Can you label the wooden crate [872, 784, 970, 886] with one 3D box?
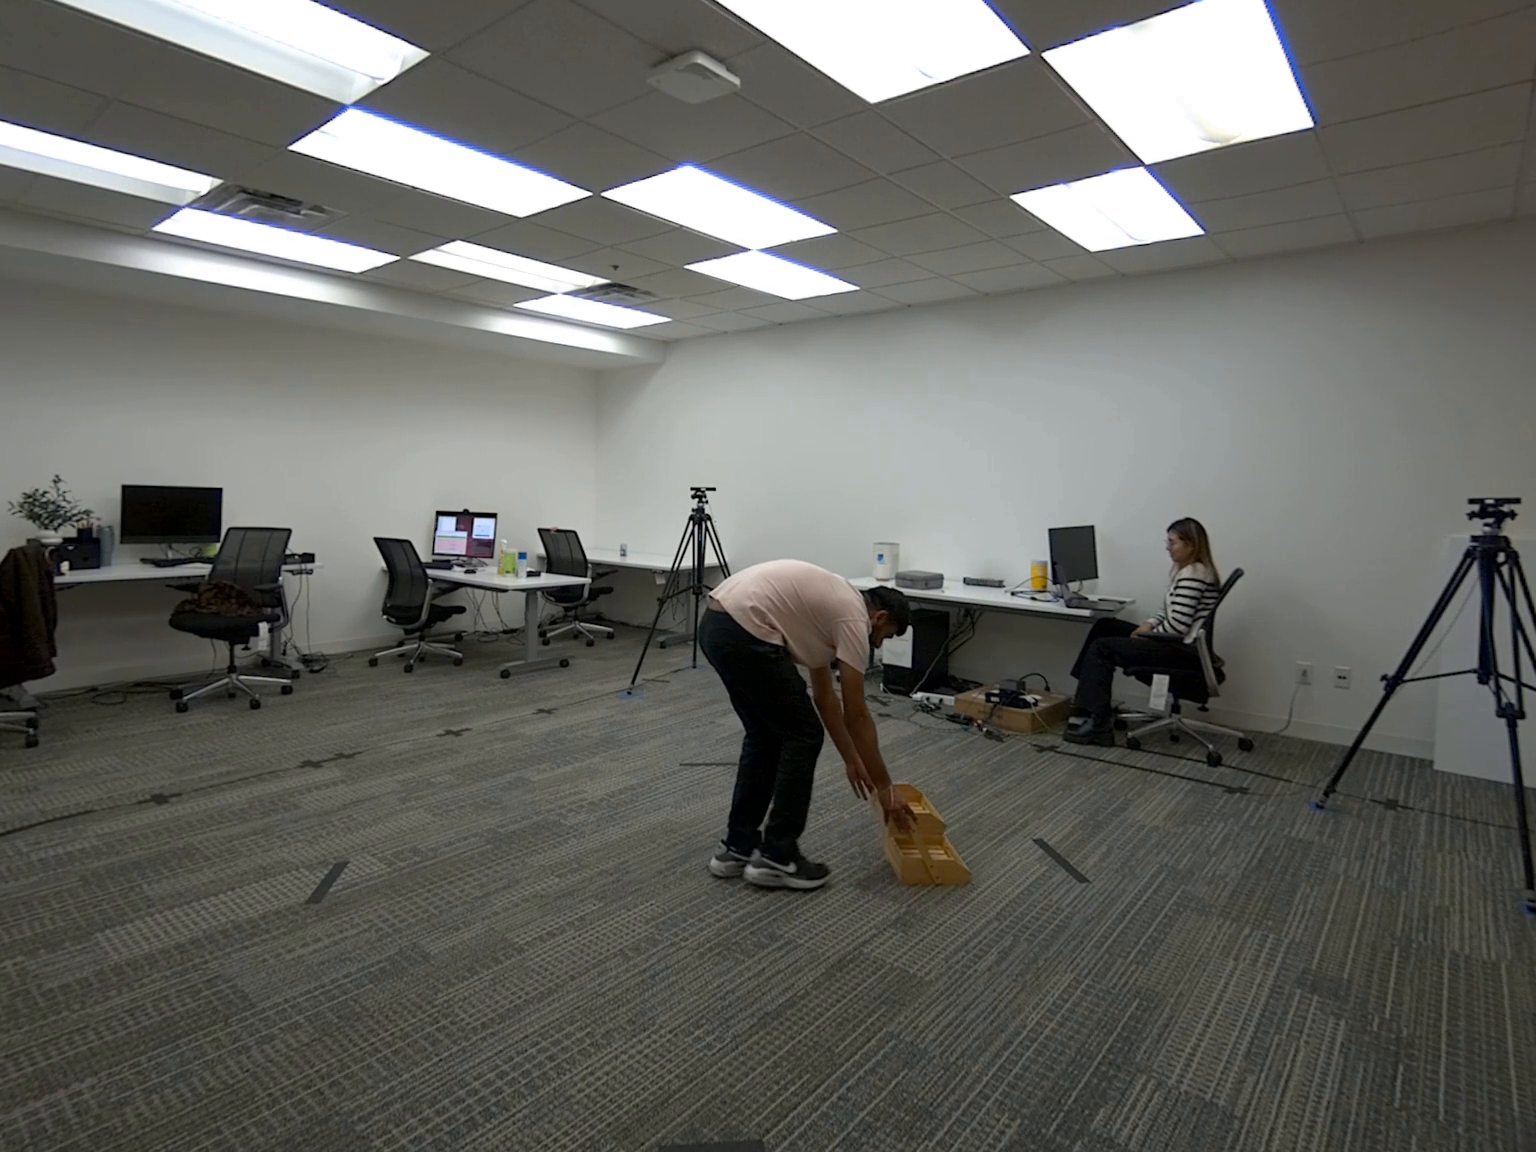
[{"bbox_3d":[0.559,0.947,3.170,0.301,0.272,0.327,1,5,-5],"label":"wooden crate"}]
